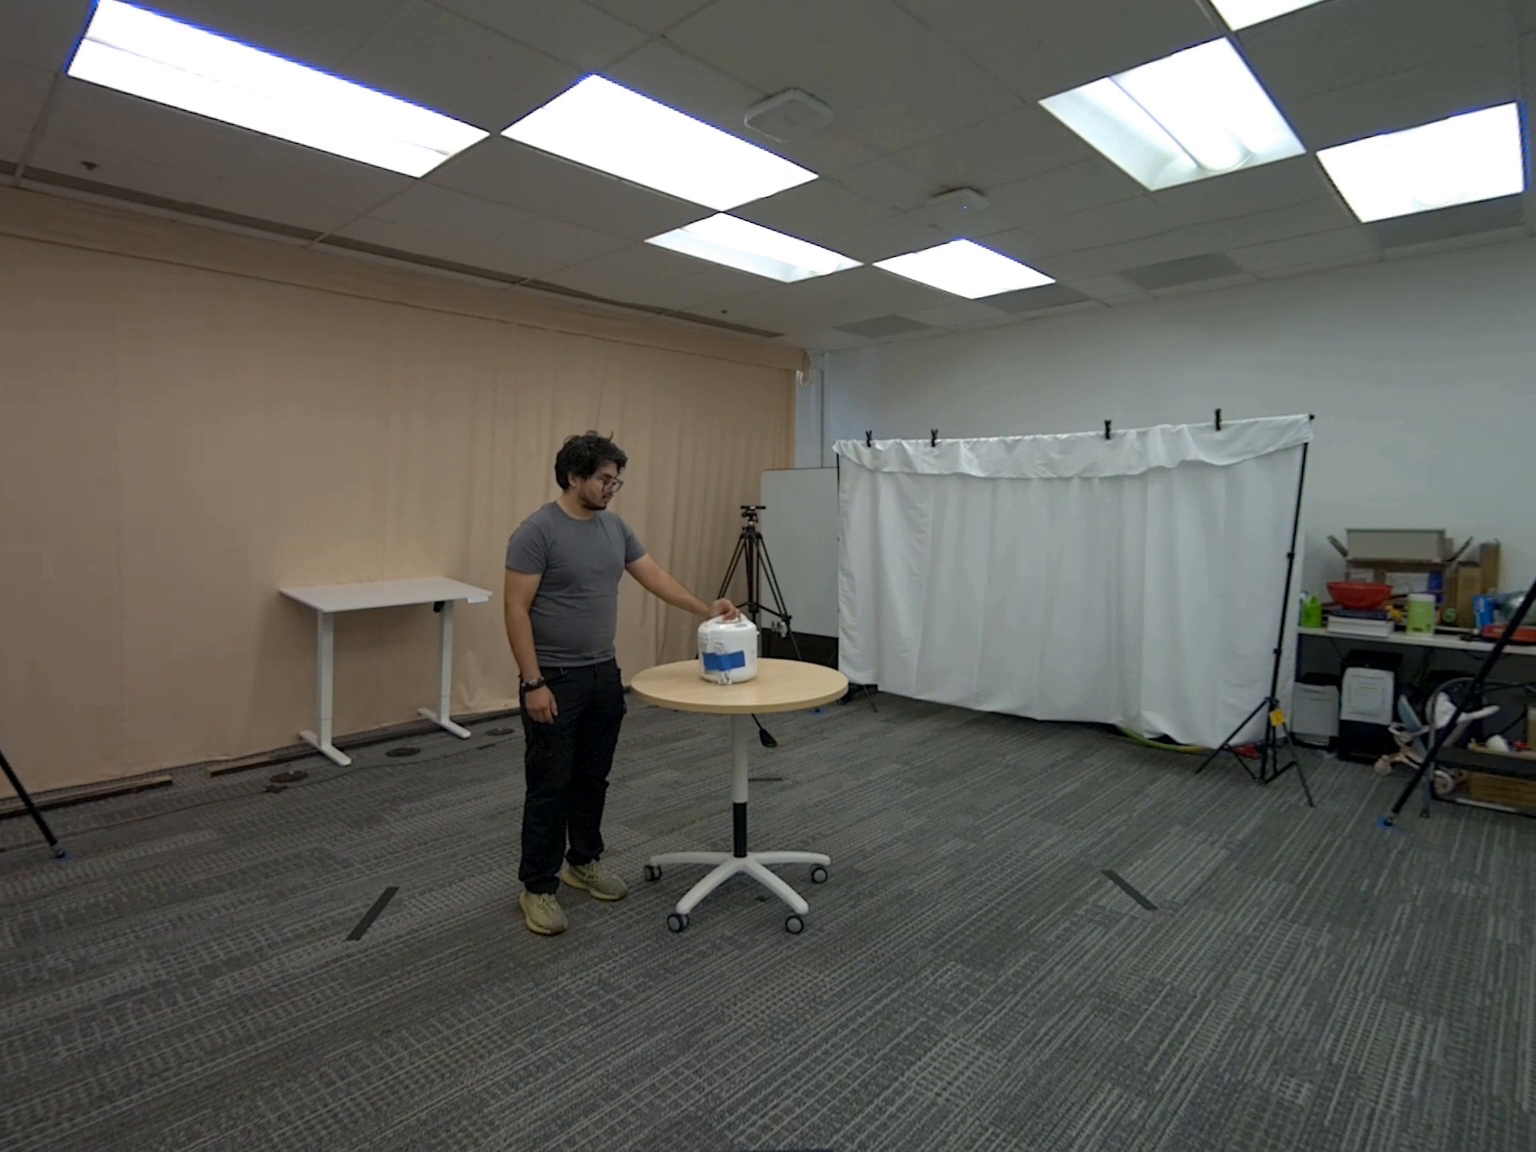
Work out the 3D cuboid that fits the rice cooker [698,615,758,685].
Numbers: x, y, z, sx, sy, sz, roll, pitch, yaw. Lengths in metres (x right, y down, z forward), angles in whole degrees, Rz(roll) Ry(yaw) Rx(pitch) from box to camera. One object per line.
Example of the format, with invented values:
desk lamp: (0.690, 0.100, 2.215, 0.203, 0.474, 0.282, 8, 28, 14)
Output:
rice cooker: (-0.141, 0.251, 2.969, 0.214, 0.232, 0.224, -3, 6, -37)
